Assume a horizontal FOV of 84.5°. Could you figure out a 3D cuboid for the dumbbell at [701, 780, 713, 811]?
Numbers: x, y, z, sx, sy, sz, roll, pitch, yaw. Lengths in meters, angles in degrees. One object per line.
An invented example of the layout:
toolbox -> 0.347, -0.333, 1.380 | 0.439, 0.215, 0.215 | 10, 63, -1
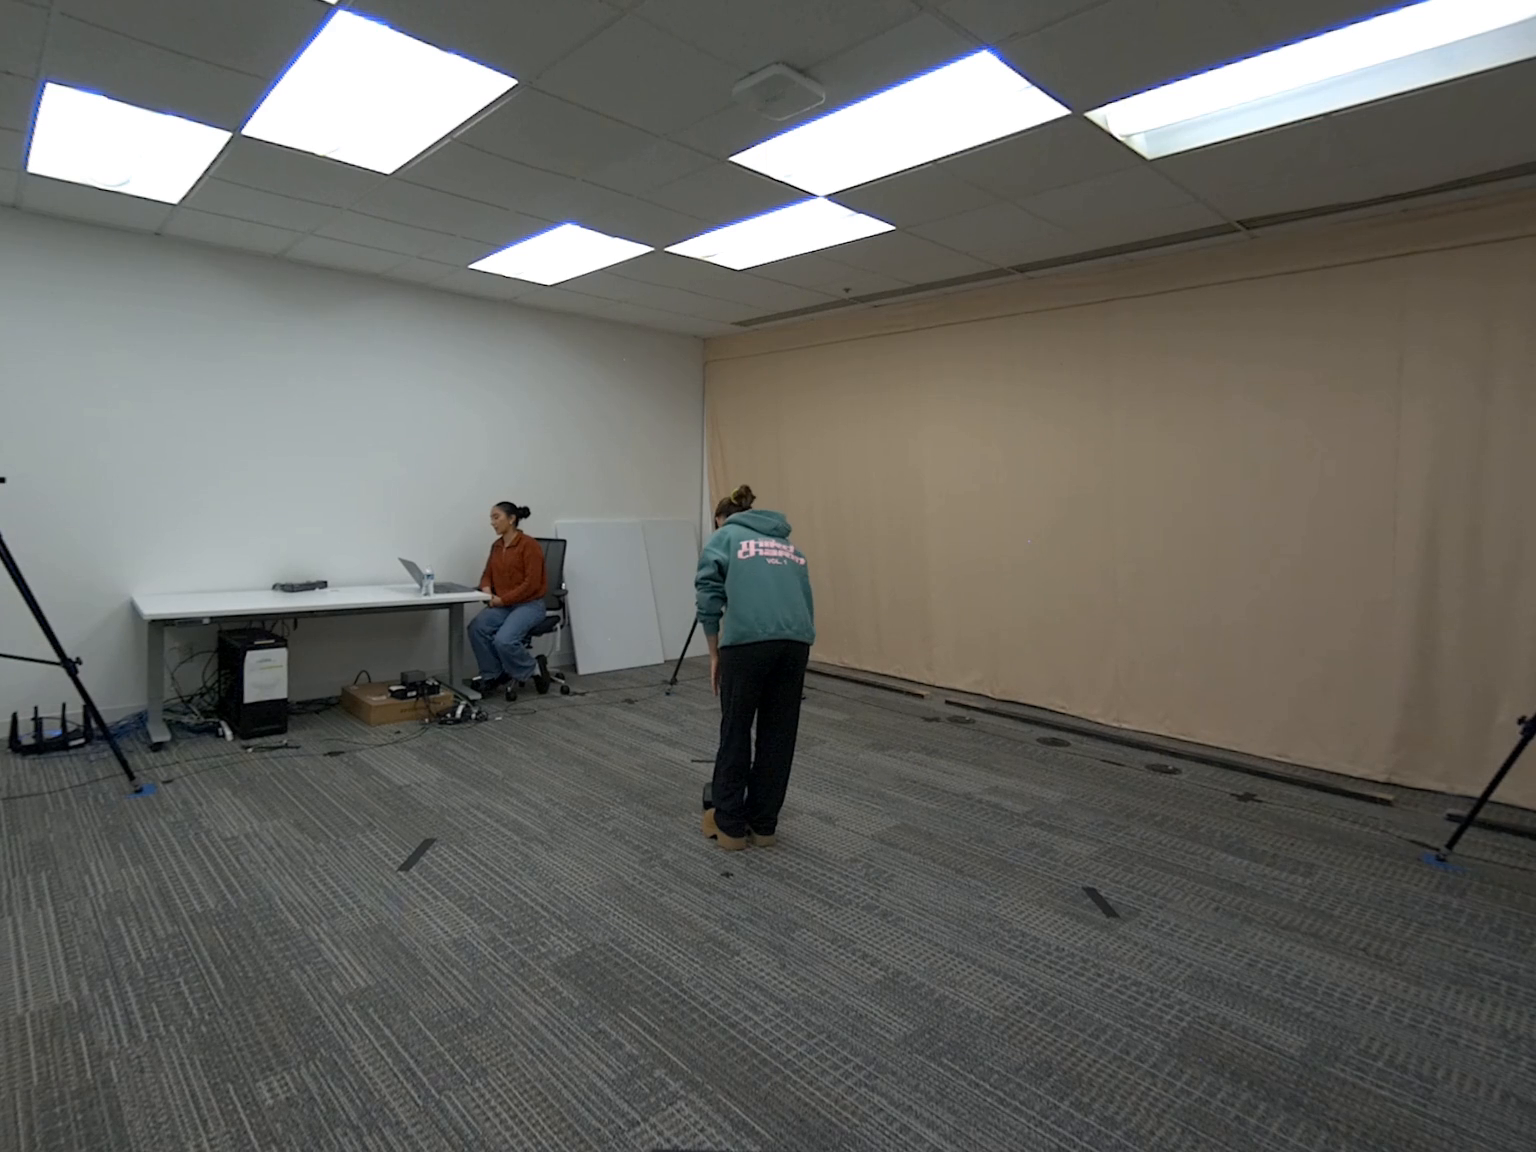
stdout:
dumbbell -> -0.147, 0.994, 3.755 | 0.295, 0.120, 0.110 | 2, 34, 6
